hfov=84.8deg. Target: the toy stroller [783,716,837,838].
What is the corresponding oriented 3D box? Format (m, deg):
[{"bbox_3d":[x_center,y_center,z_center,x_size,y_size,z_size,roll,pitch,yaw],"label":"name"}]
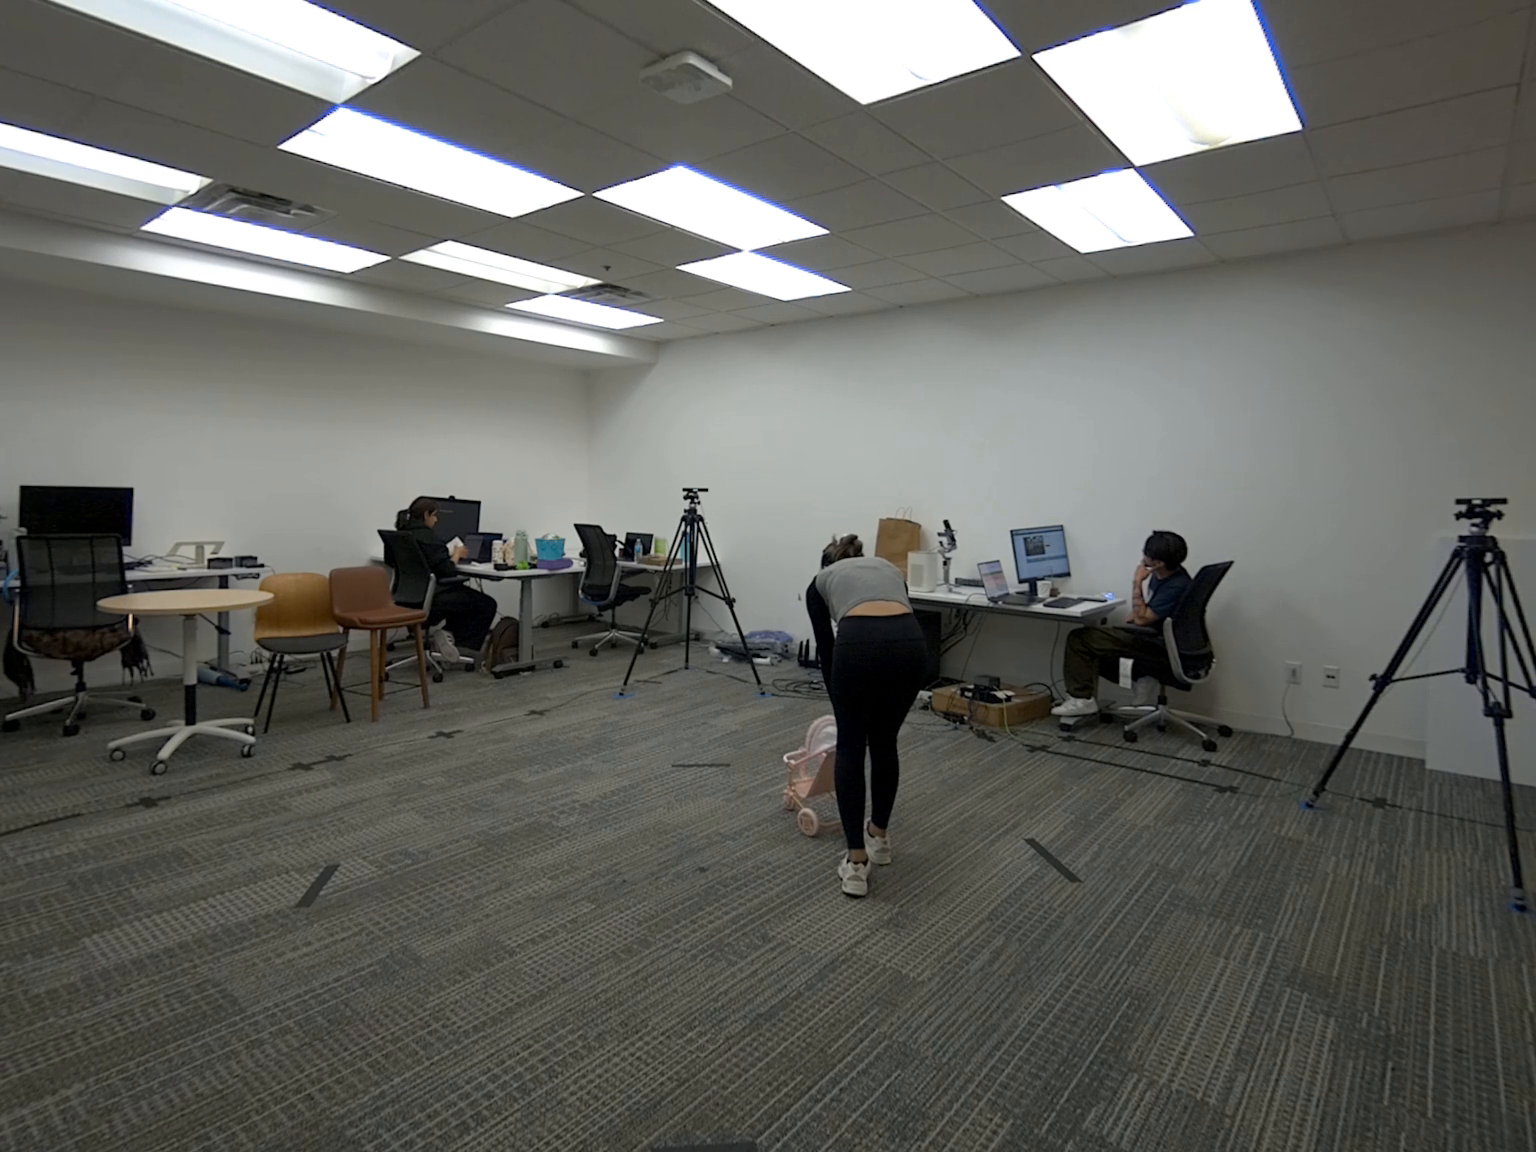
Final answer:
[{"bbox_3d":[0.213,0.810,3.552,0.273,0.528,0.355,-1,20,-35],"label":"toy stroller"}]
